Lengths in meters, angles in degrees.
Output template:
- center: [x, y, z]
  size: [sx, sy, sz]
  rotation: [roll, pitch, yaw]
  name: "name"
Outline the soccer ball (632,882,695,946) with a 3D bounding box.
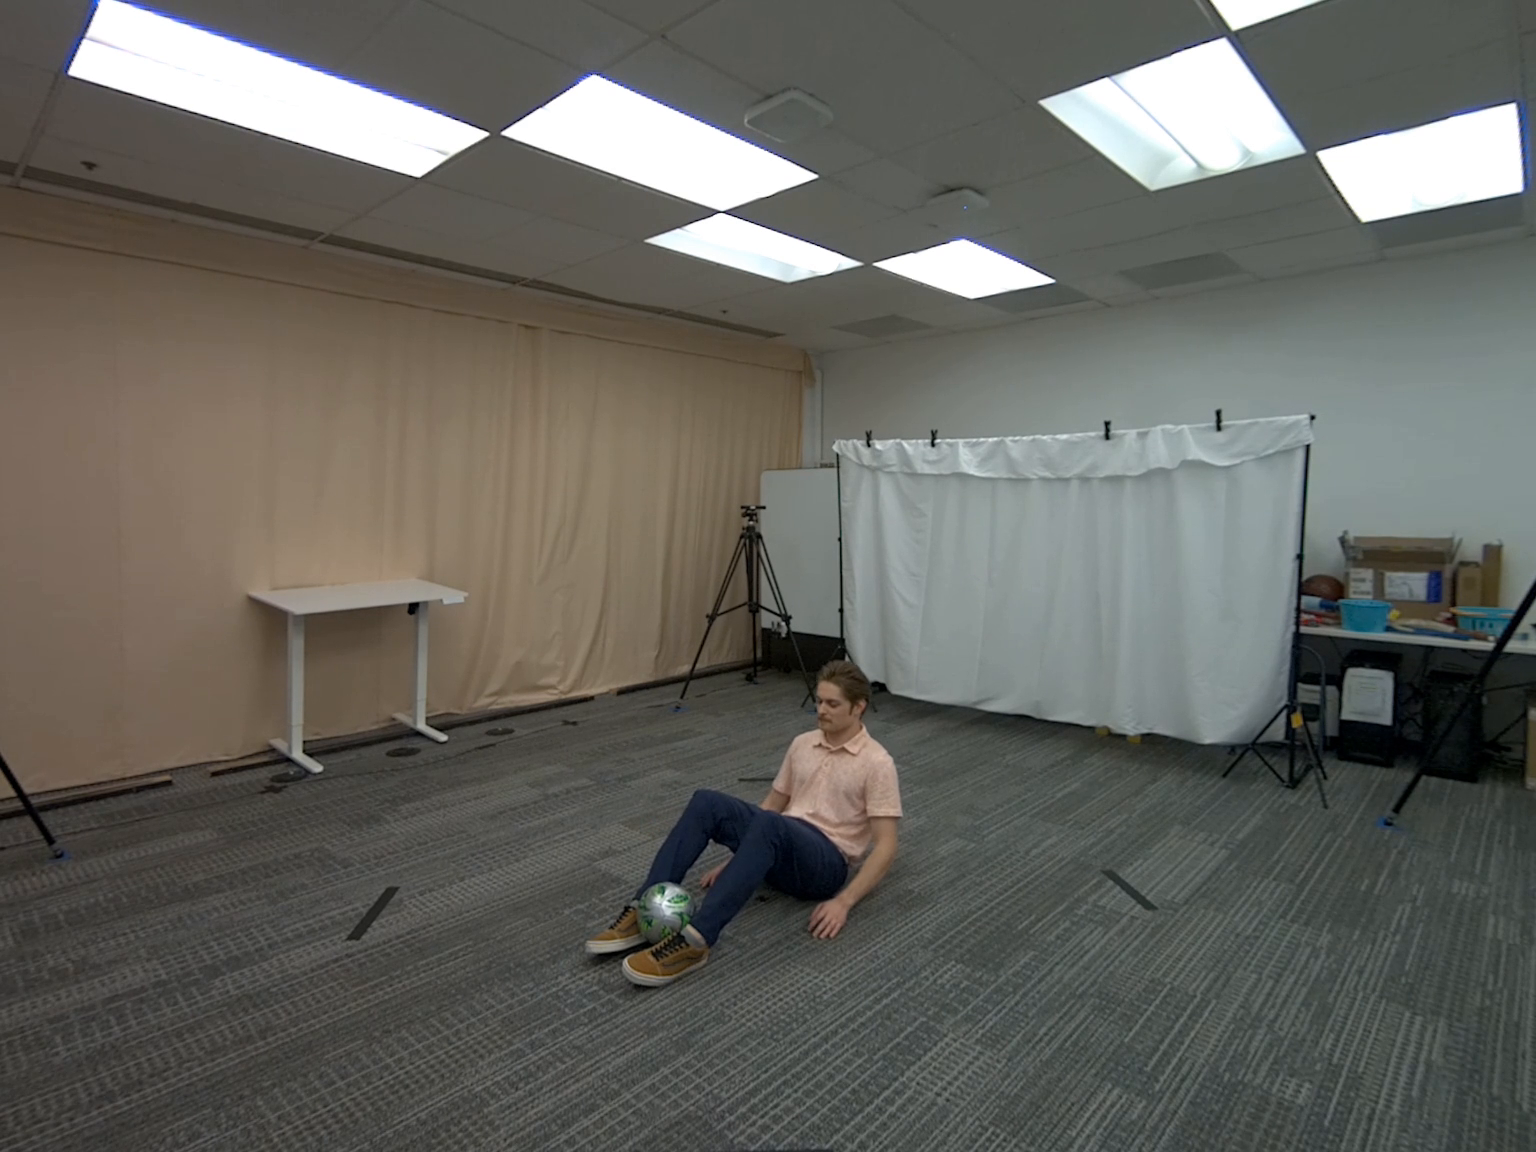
- center: [-0.316, 1.050, 2.628]
  size: [0.187, 0.187, 0.188]
  rotation: [0, 4, -2]
  name: "soccer ball"
